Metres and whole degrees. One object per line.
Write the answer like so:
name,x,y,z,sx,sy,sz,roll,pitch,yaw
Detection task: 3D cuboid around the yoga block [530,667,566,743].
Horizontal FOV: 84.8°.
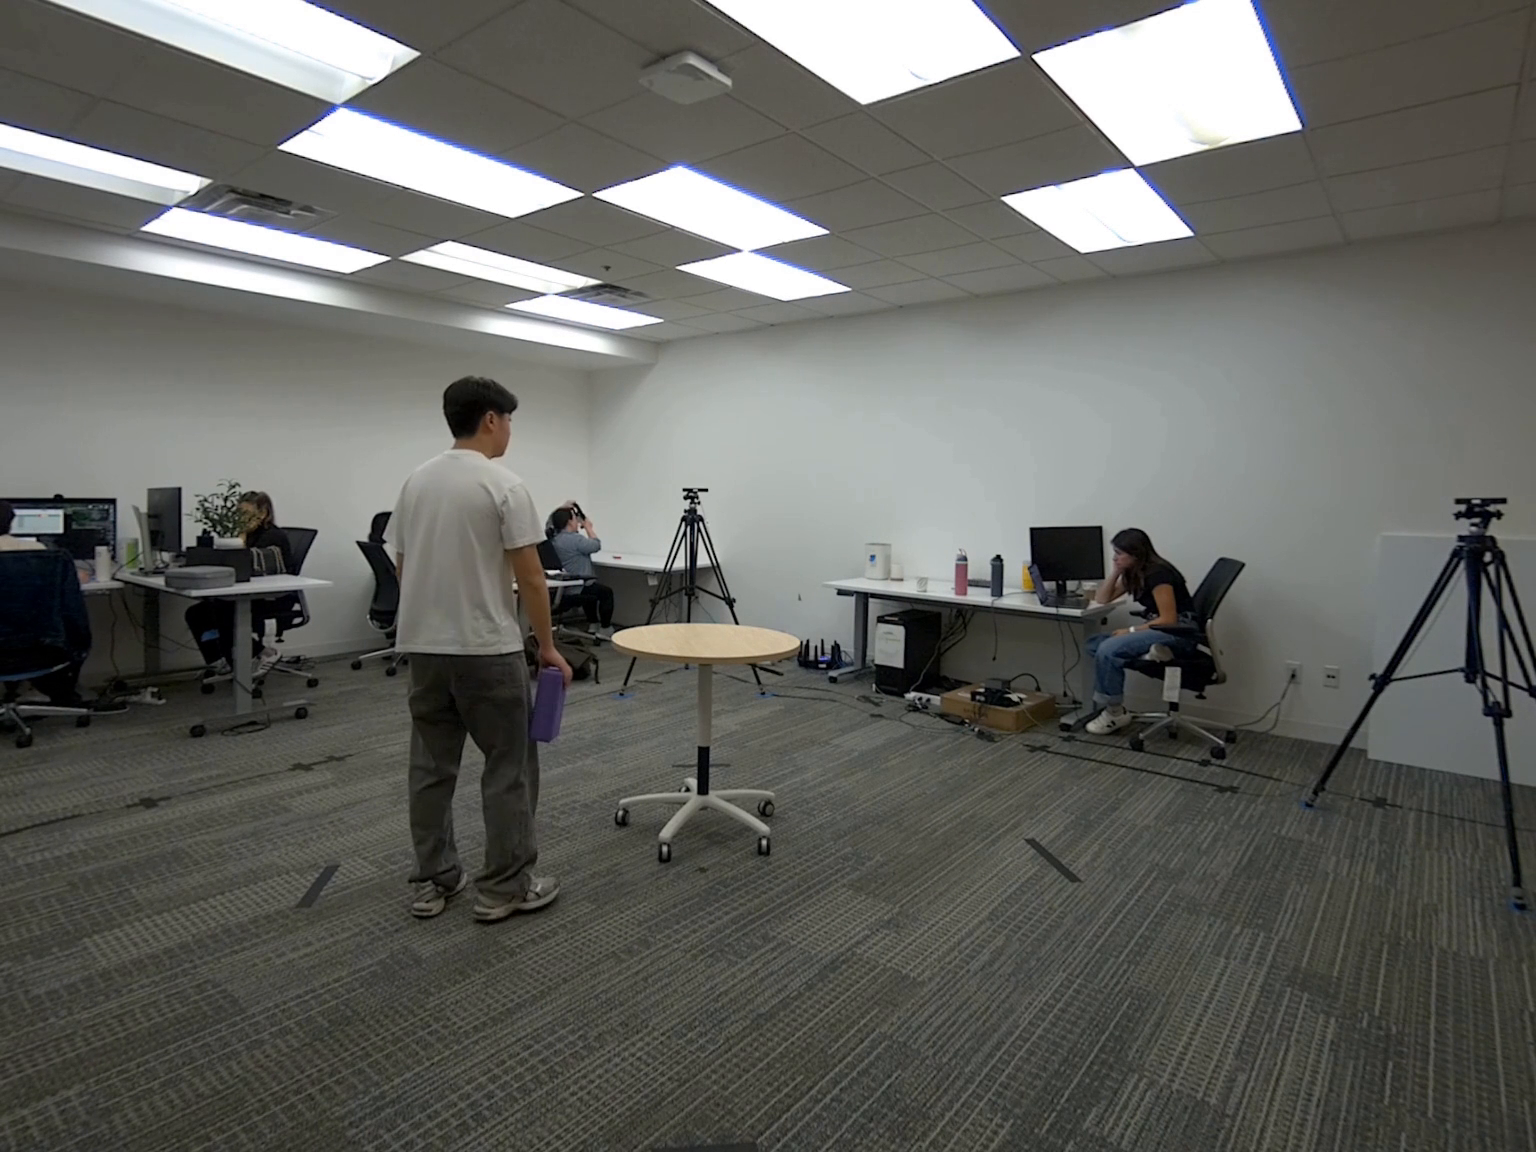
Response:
yoga block,-0.752,0.426,2.817,0.076,0.230,0.148,5,-5,0
